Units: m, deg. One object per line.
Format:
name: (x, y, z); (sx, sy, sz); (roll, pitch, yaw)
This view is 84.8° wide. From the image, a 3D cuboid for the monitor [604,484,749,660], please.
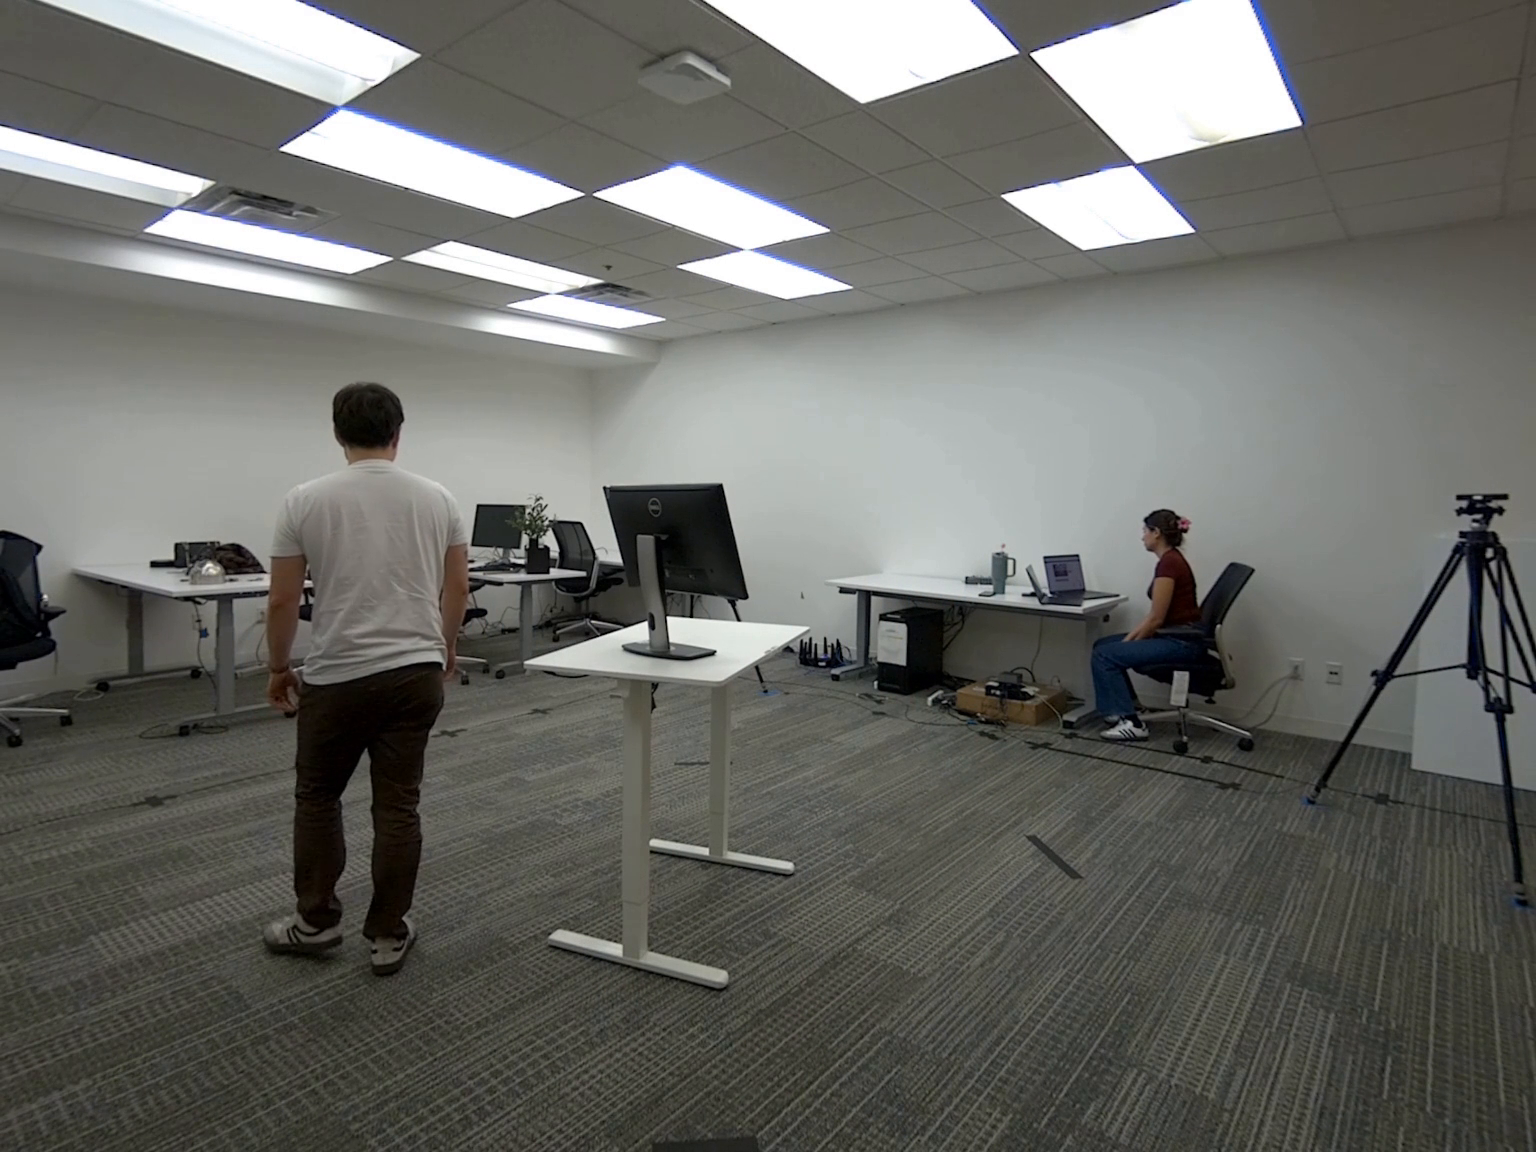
monitor: (-0.324, -0.018, 2.587); (0.557, 0.519, 0.182); (4, 8, 42)
